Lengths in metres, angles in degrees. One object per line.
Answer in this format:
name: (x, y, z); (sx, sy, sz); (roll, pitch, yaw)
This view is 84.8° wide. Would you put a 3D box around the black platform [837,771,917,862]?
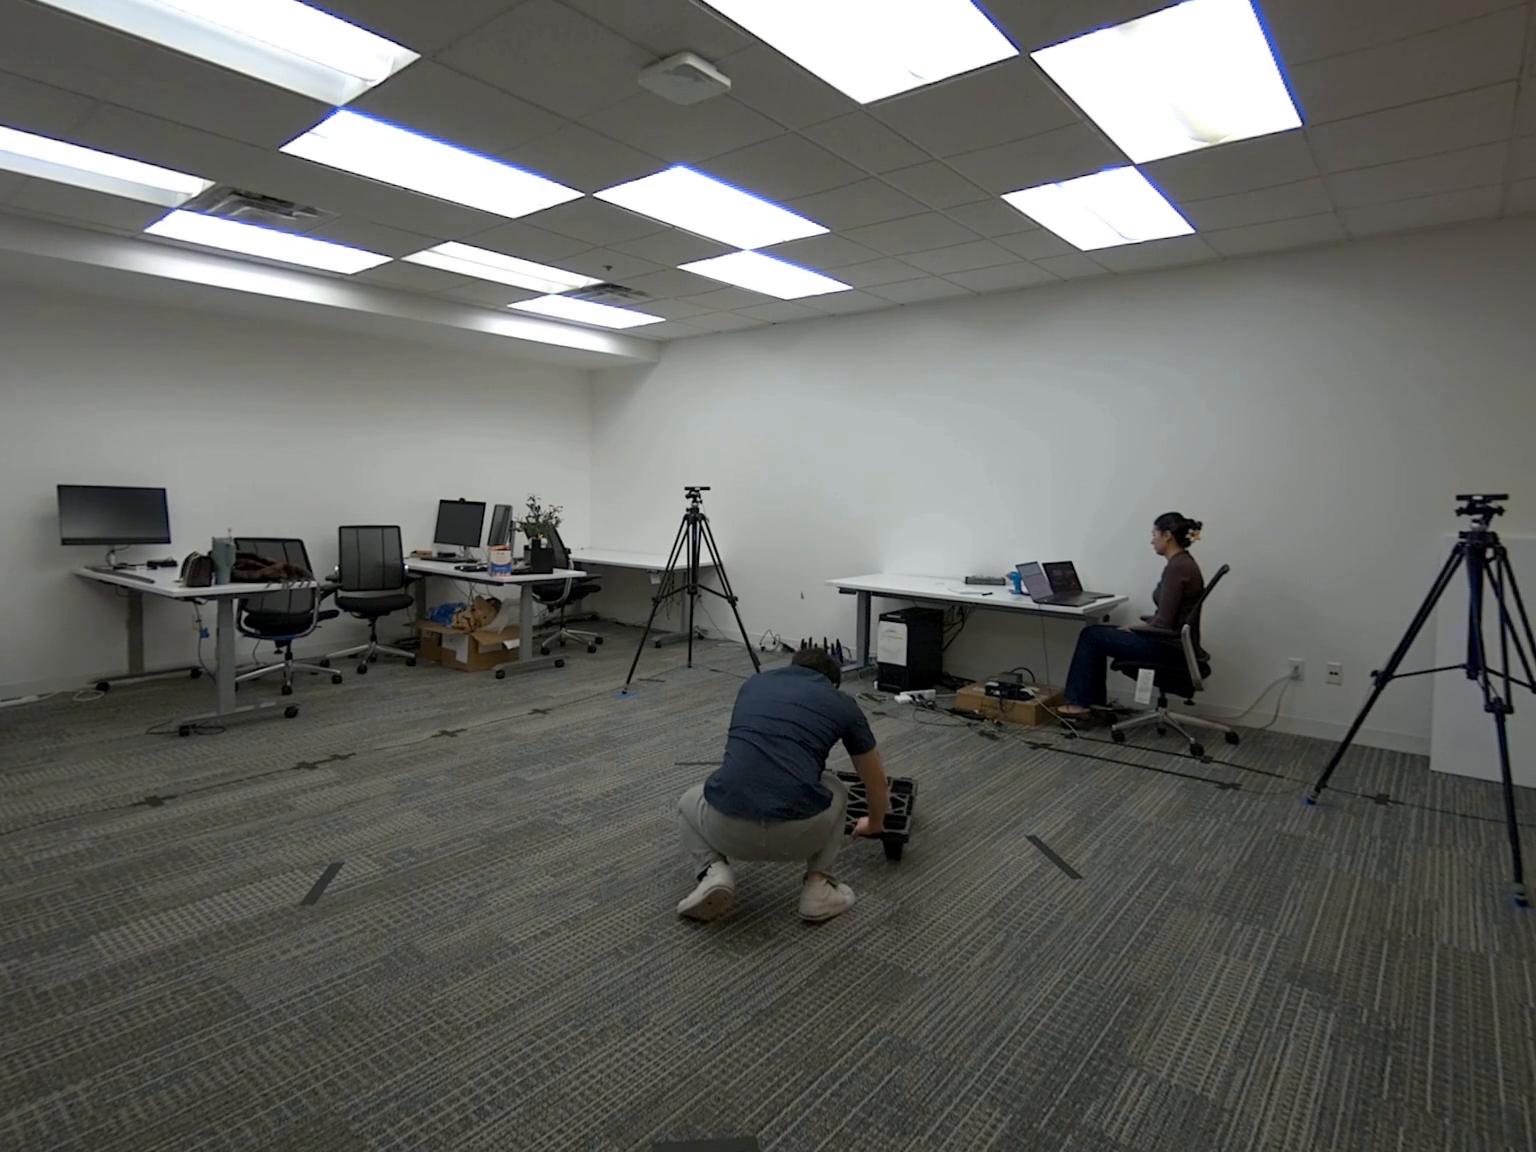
black platform: (0.178, 0.957, 3.524); (0.819, 0.143, 0.598); (3, 6, 14)
